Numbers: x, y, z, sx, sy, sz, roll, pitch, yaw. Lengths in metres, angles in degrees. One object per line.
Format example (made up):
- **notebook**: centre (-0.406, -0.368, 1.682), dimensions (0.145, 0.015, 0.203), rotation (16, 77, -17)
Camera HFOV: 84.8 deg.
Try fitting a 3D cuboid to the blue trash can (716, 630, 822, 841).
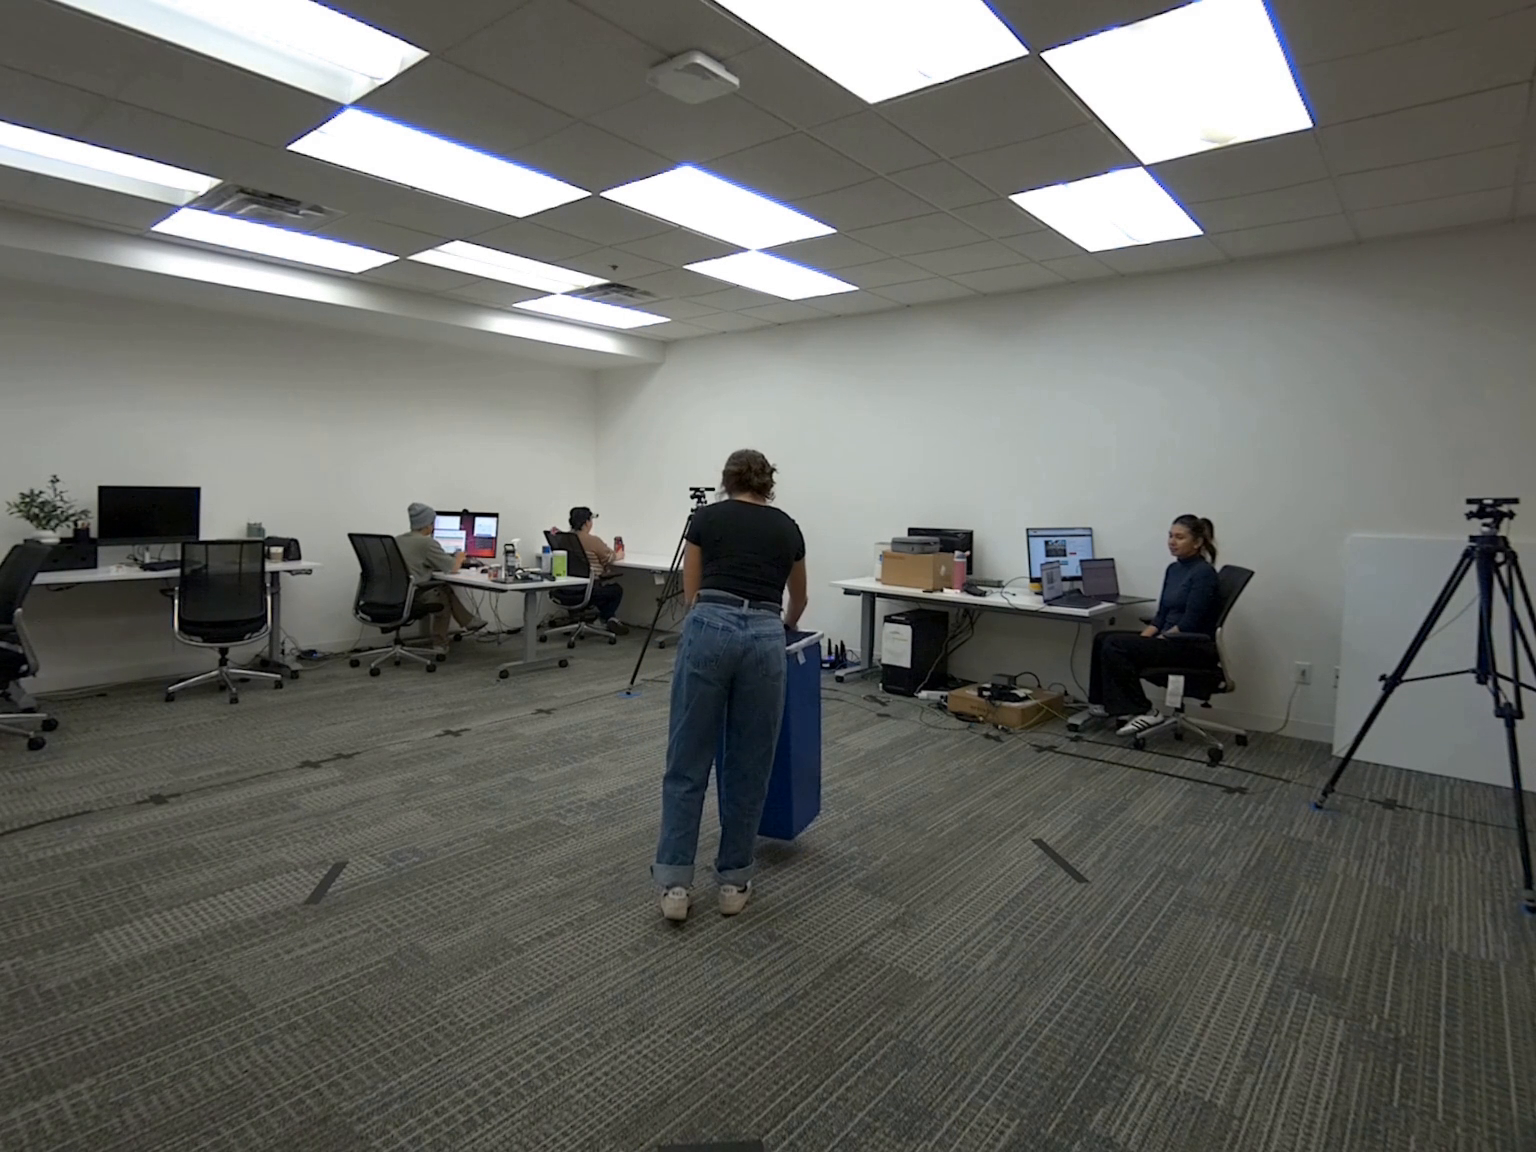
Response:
- **blue trash can**: centre (-0.016, 0.585, 3.266), dimensions (0.384, 0.711, 0.370), rotation (1, 5, 27)
